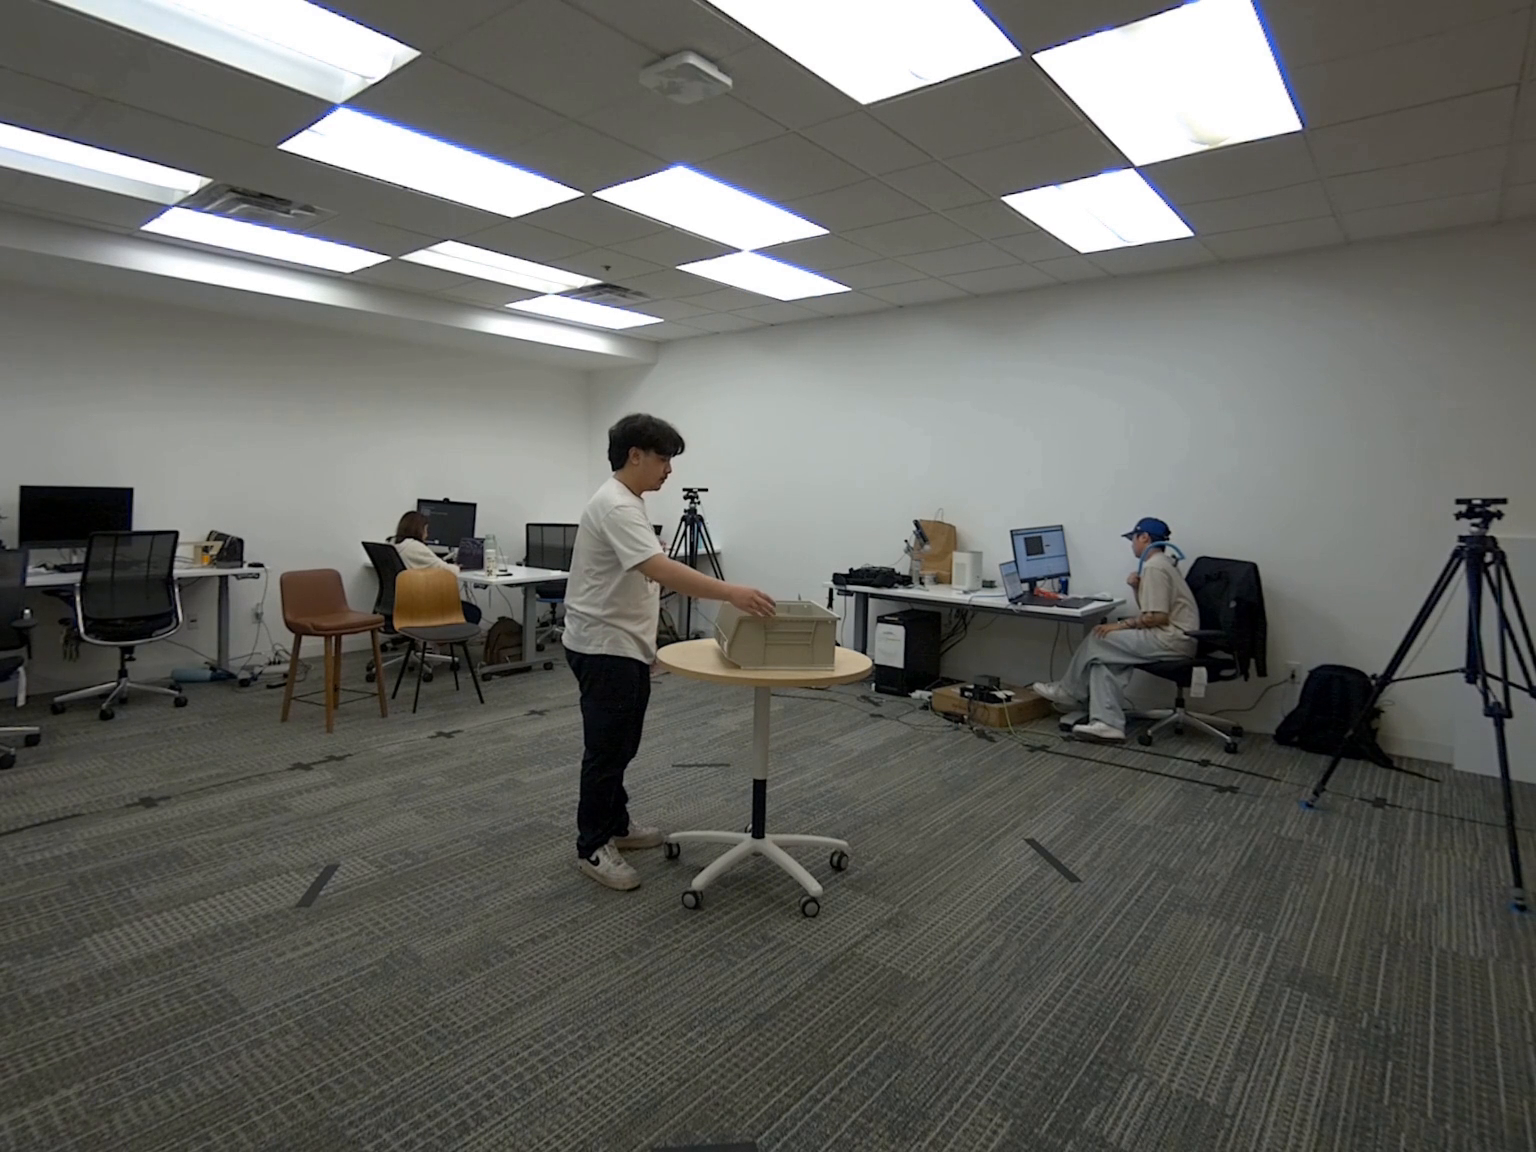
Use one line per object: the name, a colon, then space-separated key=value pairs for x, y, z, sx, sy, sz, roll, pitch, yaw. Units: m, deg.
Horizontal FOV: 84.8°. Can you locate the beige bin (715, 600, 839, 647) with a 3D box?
beige bin: x=-0.003 y=0.206 z=2.986 sx=0.375 sy=0.188 sz=0.426 roll=2 pitch=4 yaw=-6
